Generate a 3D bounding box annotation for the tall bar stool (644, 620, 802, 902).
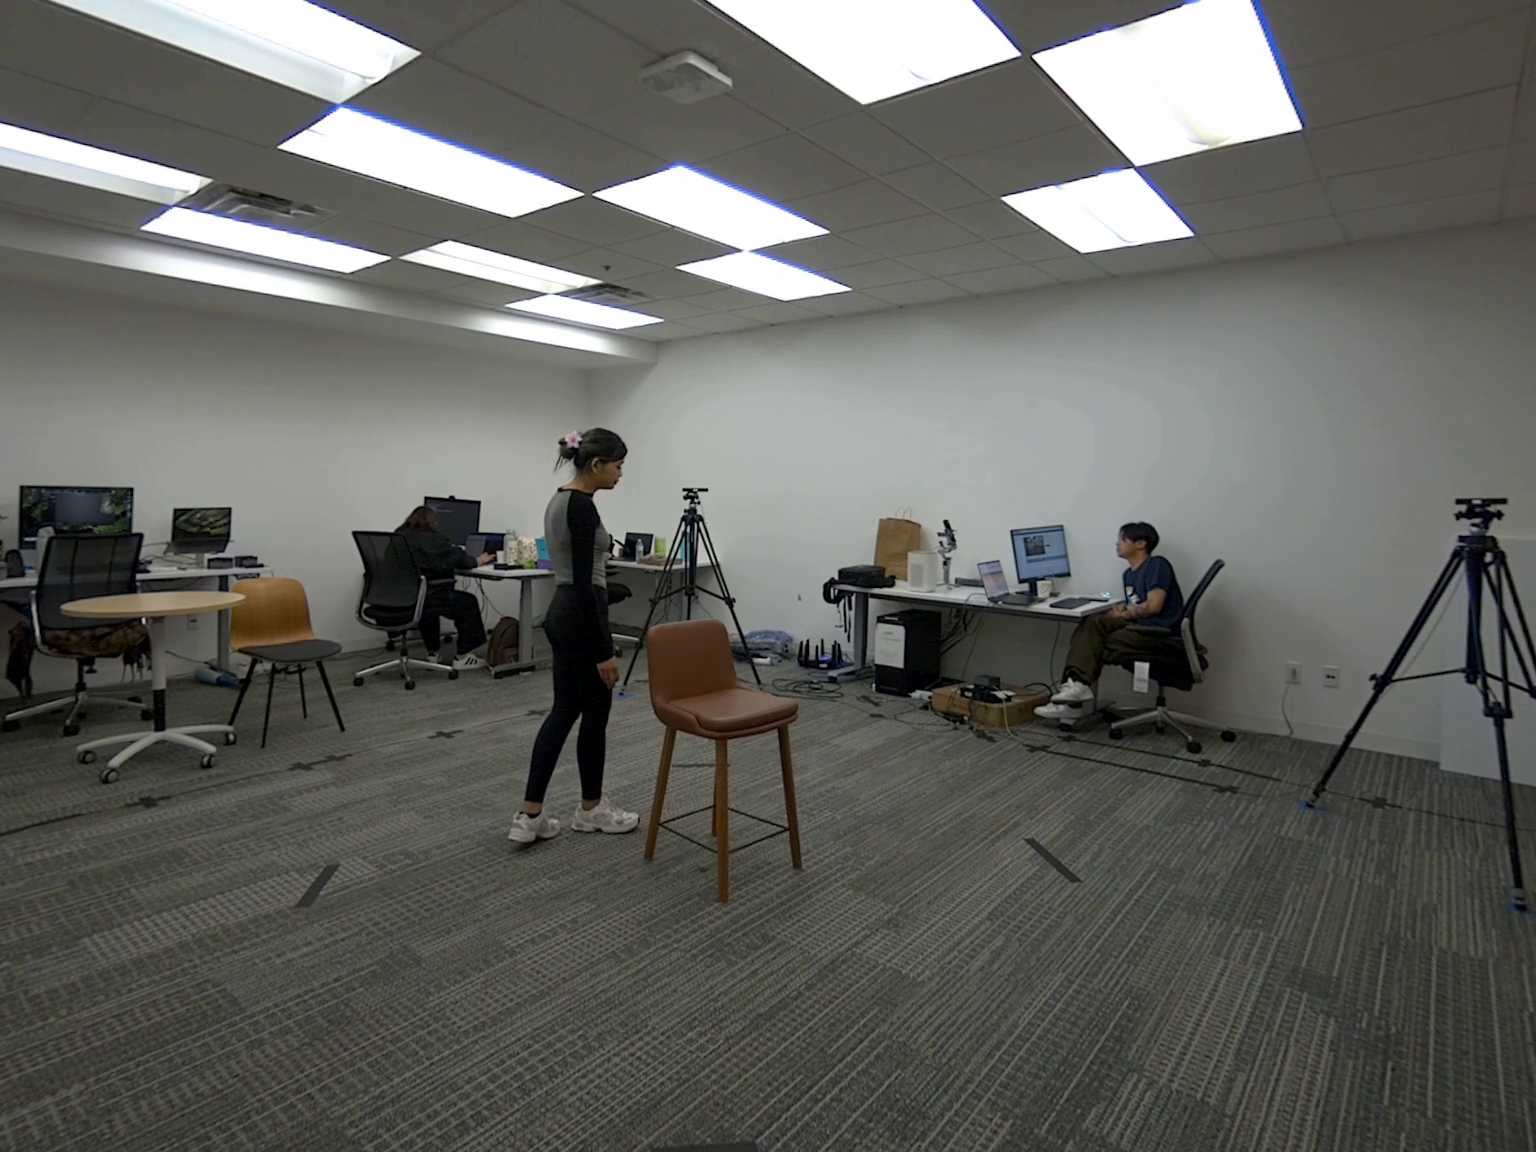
[{"bbox_3d":[-0.181,0.631,3.137,0.483,0.889,0.442,1,2,45],"label":"tall bar stool"}]
